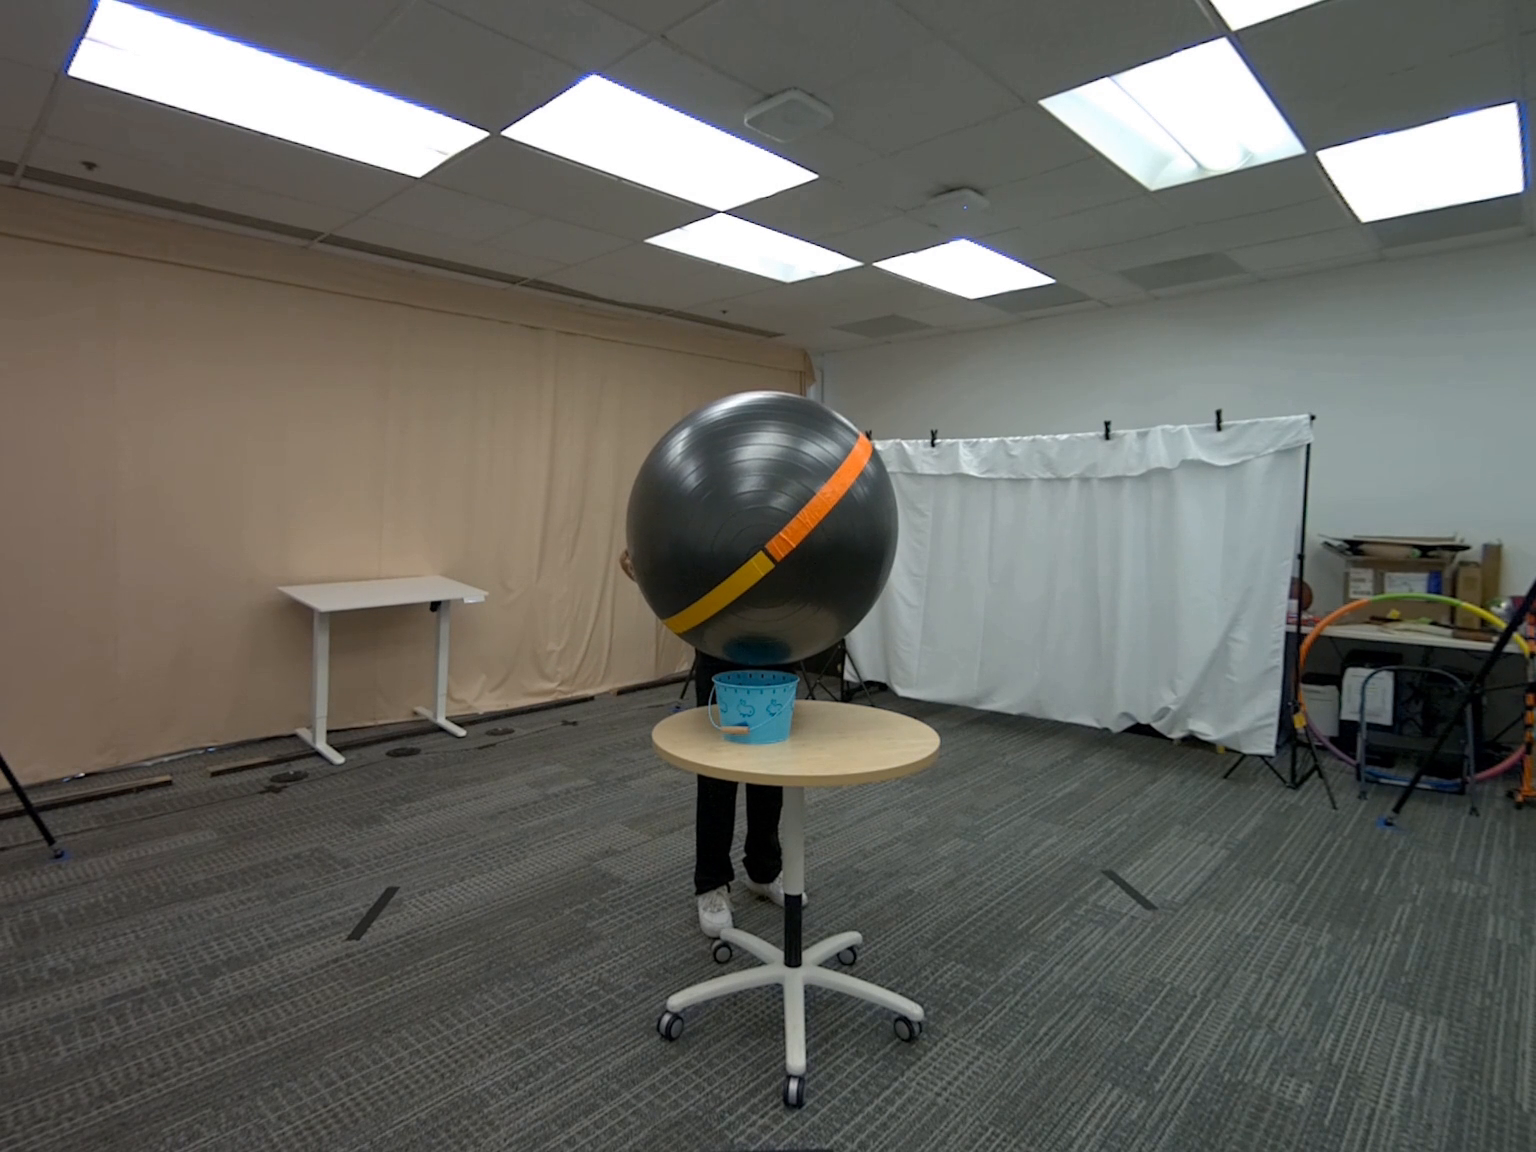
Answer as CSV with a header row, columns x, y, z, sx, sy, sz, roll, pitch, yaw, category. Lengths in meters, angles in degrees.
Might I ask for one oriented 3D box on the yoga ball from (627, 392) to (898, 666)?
x,y,z,sx,sy,sz,roll,pitch,yaw,category
-0.019,-0.128,2.358,0.757,0.756,0.760,0,4,-2,yoga ball
